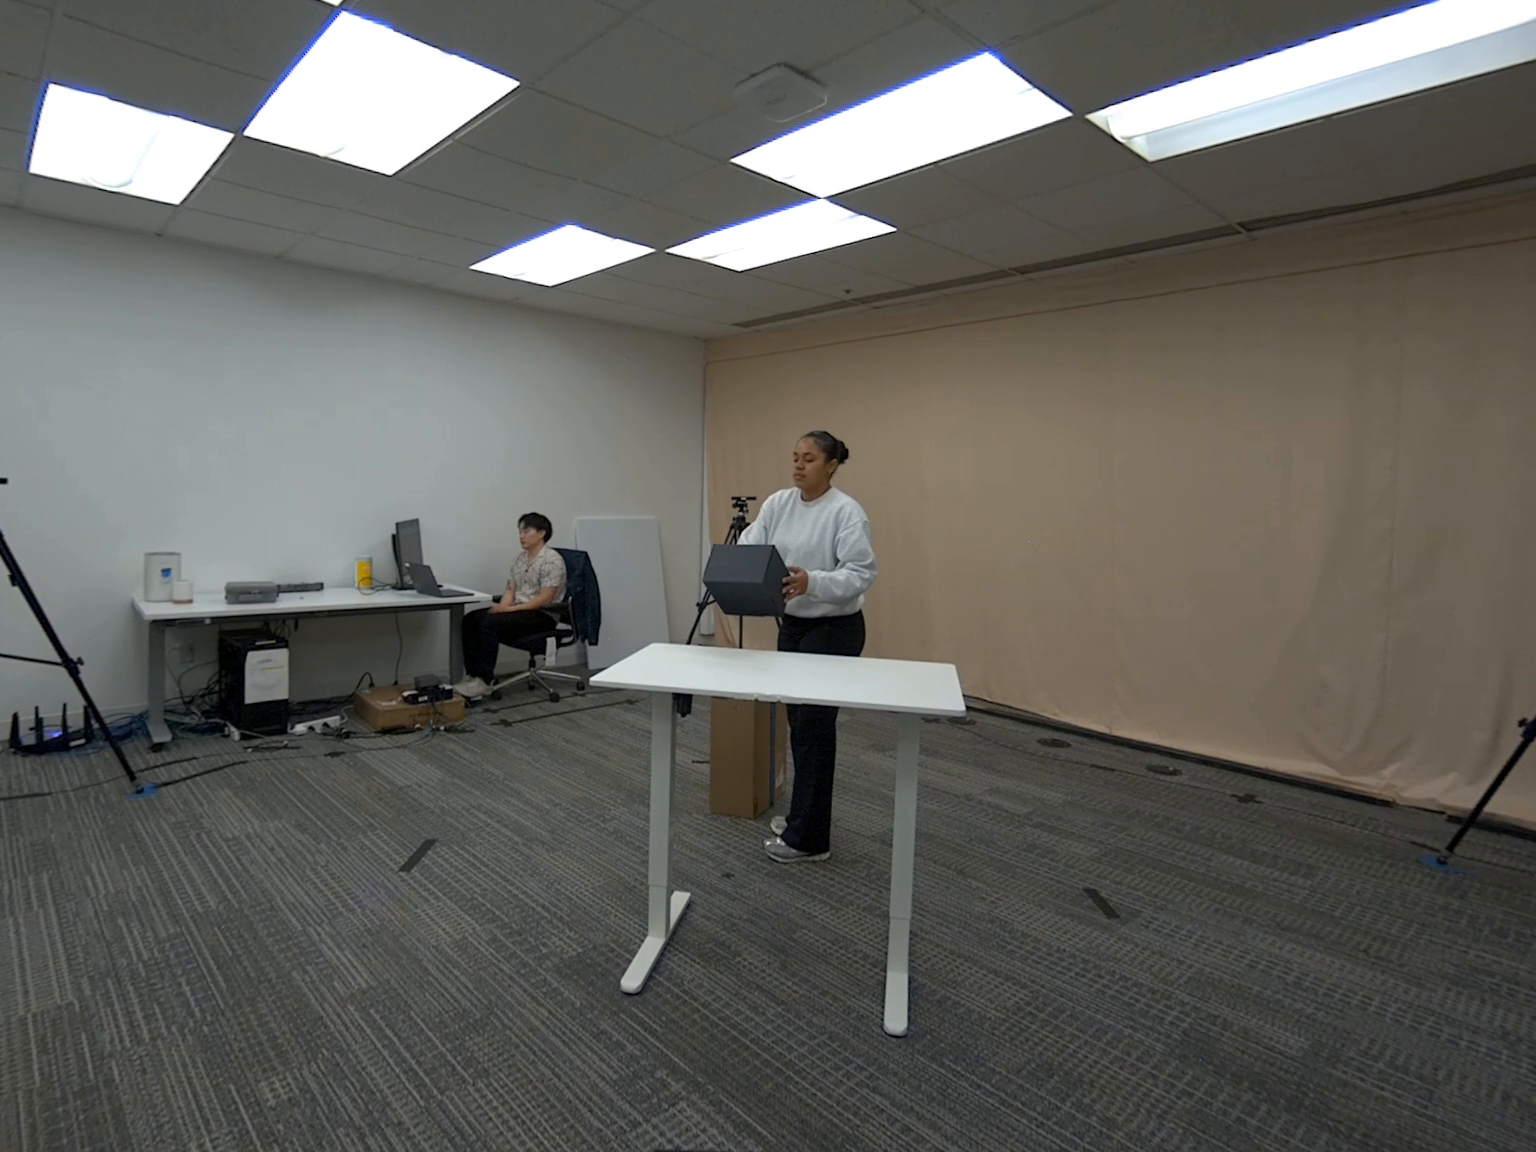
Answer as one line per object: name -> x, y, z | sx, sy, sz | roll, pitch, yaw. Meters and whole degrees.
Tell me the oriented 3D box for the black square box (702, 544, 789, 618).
black square box -> -0.077, 0.014, 2.888 | 0.232, 0.158, 0.210 | 2, -34, 25
